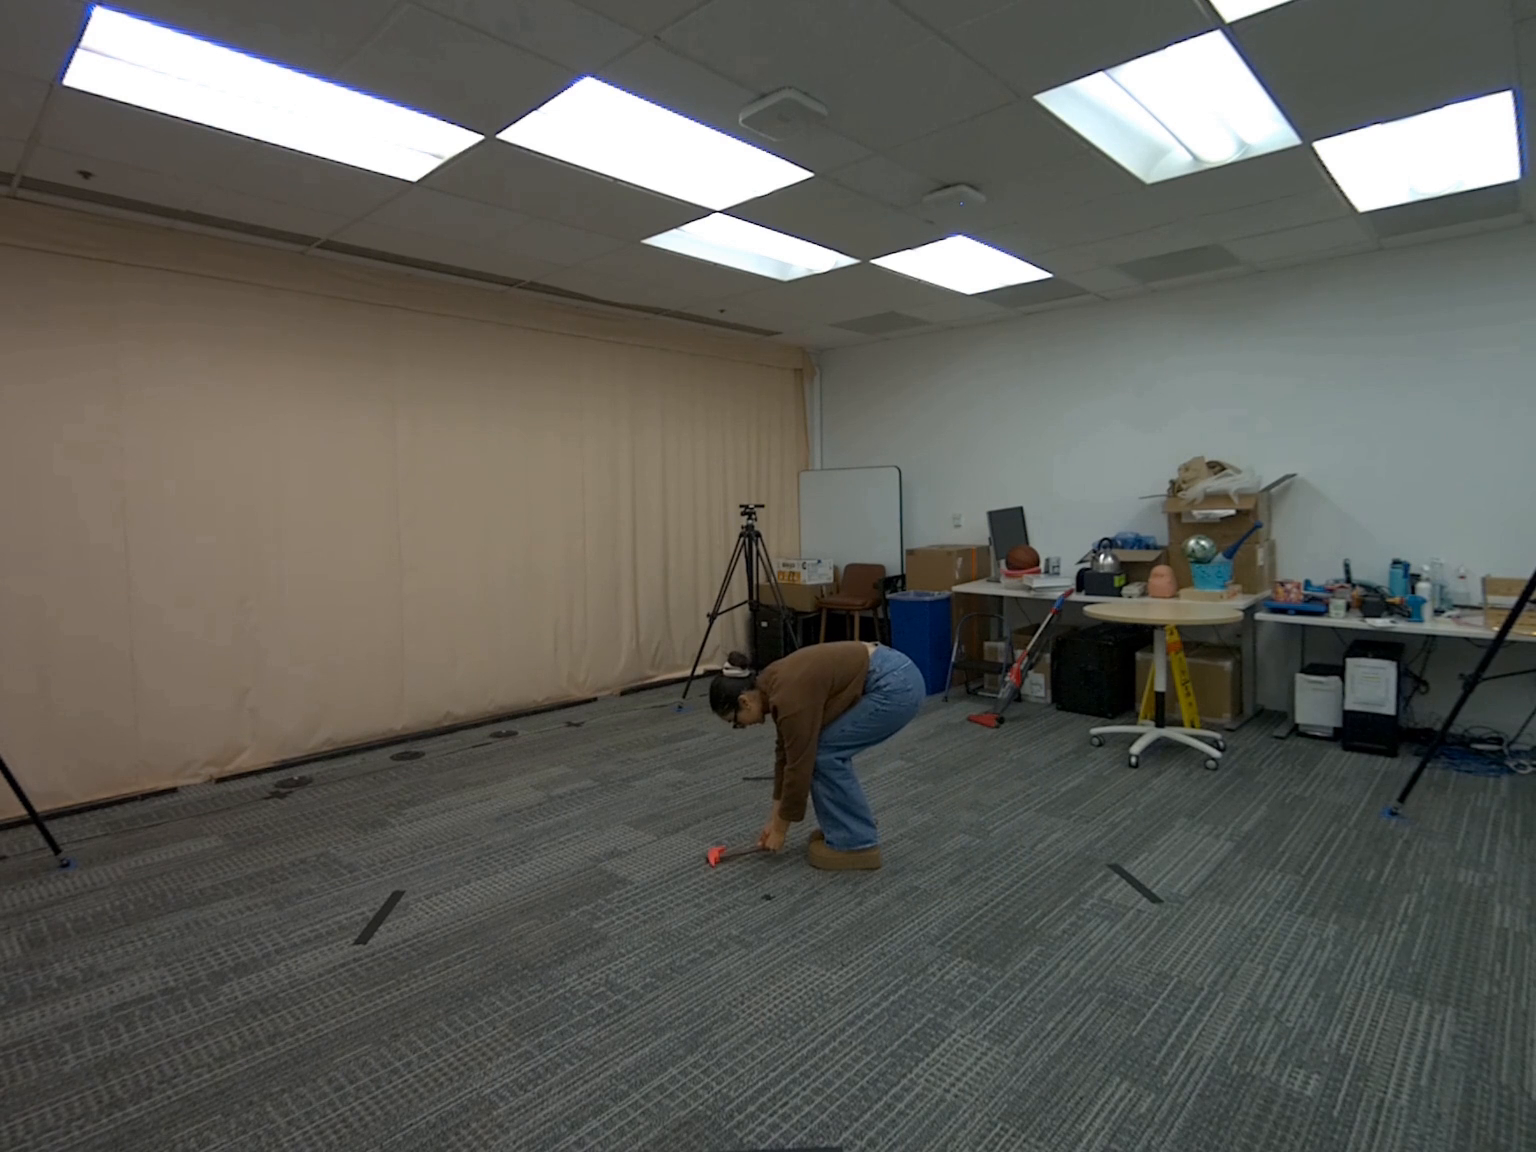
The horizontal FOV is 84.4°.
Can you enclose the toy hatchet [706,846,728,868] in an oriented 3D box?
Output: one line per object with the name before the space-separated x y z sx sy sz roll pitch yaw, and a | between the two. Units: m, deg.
toy hatchet | -0.117 1.088 3.330 0.265 0.029 0.134 -10 11 -21
